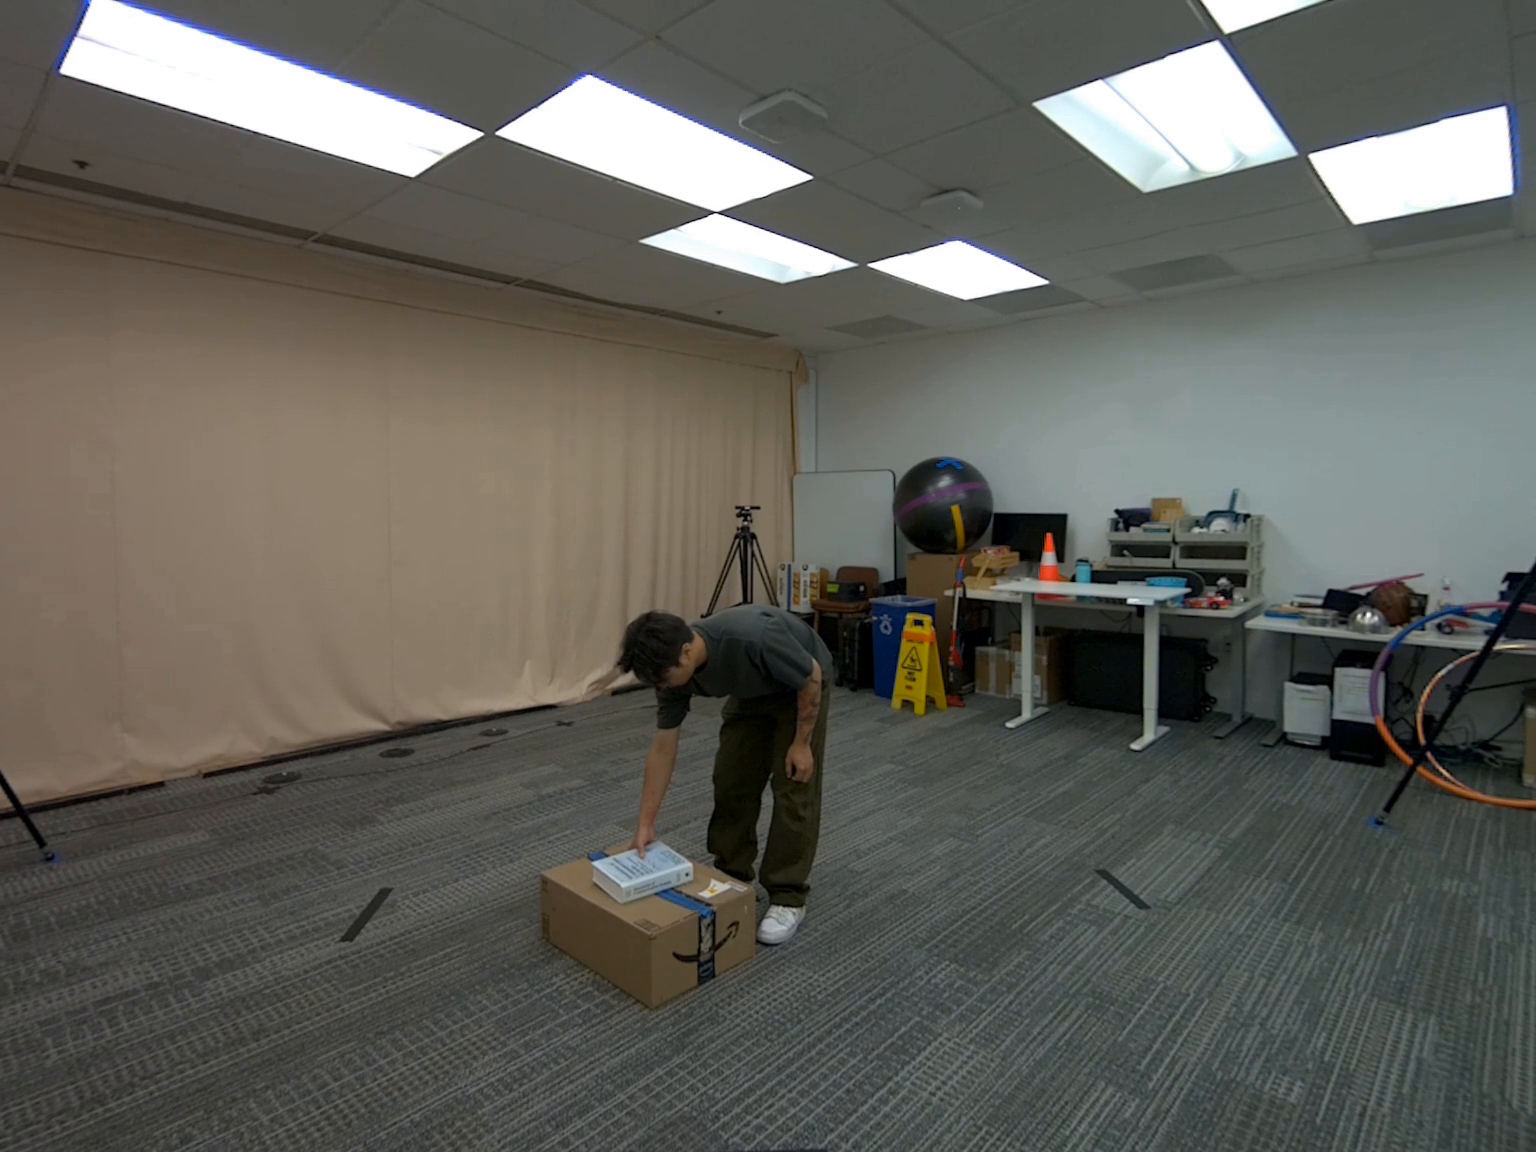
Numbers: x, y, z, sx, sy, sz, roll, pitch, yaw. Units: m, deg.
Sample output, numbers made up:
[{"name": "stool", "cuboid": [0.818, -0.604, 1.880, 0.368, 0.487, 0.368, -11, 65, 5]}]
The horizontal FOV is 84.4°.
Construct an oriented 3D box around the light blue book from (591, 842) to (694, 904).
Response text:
[{"name": "light blue book", "cuboid": [-0.397, 0.932, 2.642, 0.253, 0.059, 0.198, -4, 9, -38]}]
